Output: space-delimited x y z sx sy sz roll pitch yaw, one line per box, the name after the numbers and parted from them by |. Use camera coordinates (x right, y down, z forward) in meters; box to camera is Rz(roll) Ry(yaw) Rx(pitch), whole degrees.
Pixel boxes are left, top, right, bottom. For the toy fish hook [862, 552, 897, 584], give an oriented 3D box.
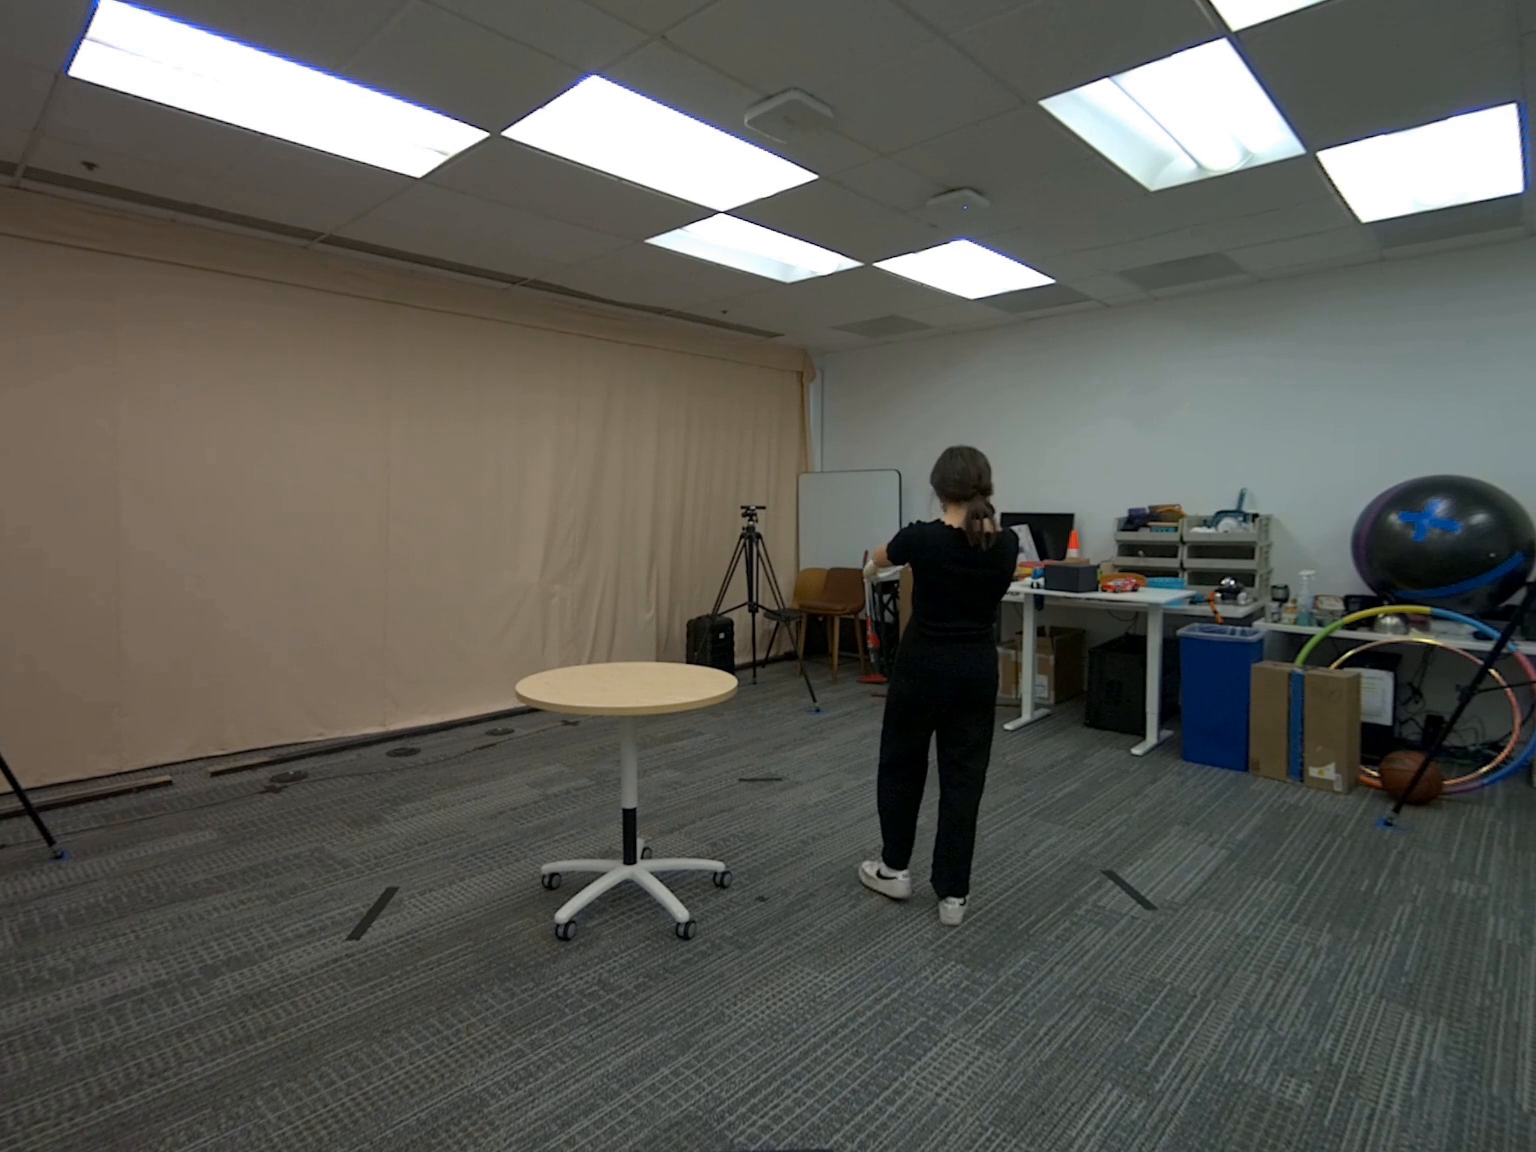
0.631 -0.113 3.389 0.506 0.049 0.219 -26 -23 -1 | toy fish hook
